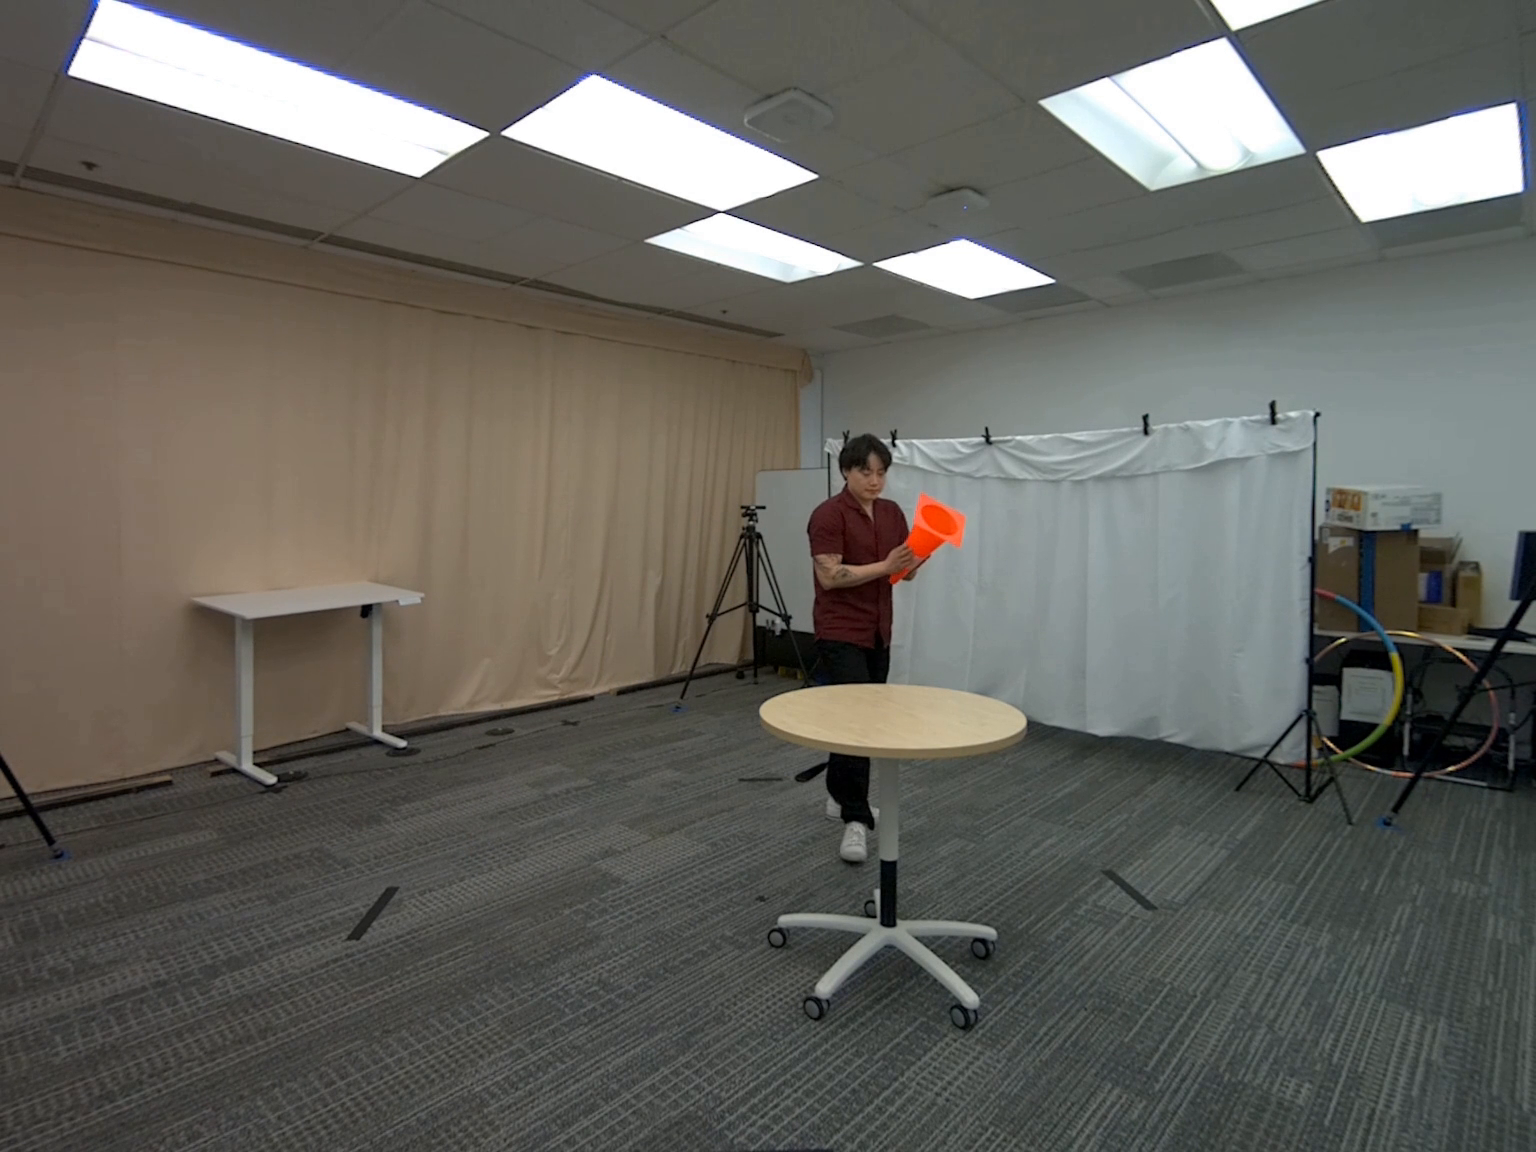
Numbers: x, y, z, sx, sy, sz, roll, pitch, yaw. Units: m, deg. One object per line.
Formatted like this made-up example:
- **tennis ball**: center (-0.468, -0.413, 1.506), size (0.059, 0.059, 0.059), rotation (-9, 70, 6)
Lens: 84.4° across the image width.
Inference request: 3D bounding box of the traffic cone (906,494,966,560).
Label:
- **traffic cone**: center (0.574, -0.096, 3.304), size (0.204, 0.384, 0.204), rotation (30, 43, -5)
